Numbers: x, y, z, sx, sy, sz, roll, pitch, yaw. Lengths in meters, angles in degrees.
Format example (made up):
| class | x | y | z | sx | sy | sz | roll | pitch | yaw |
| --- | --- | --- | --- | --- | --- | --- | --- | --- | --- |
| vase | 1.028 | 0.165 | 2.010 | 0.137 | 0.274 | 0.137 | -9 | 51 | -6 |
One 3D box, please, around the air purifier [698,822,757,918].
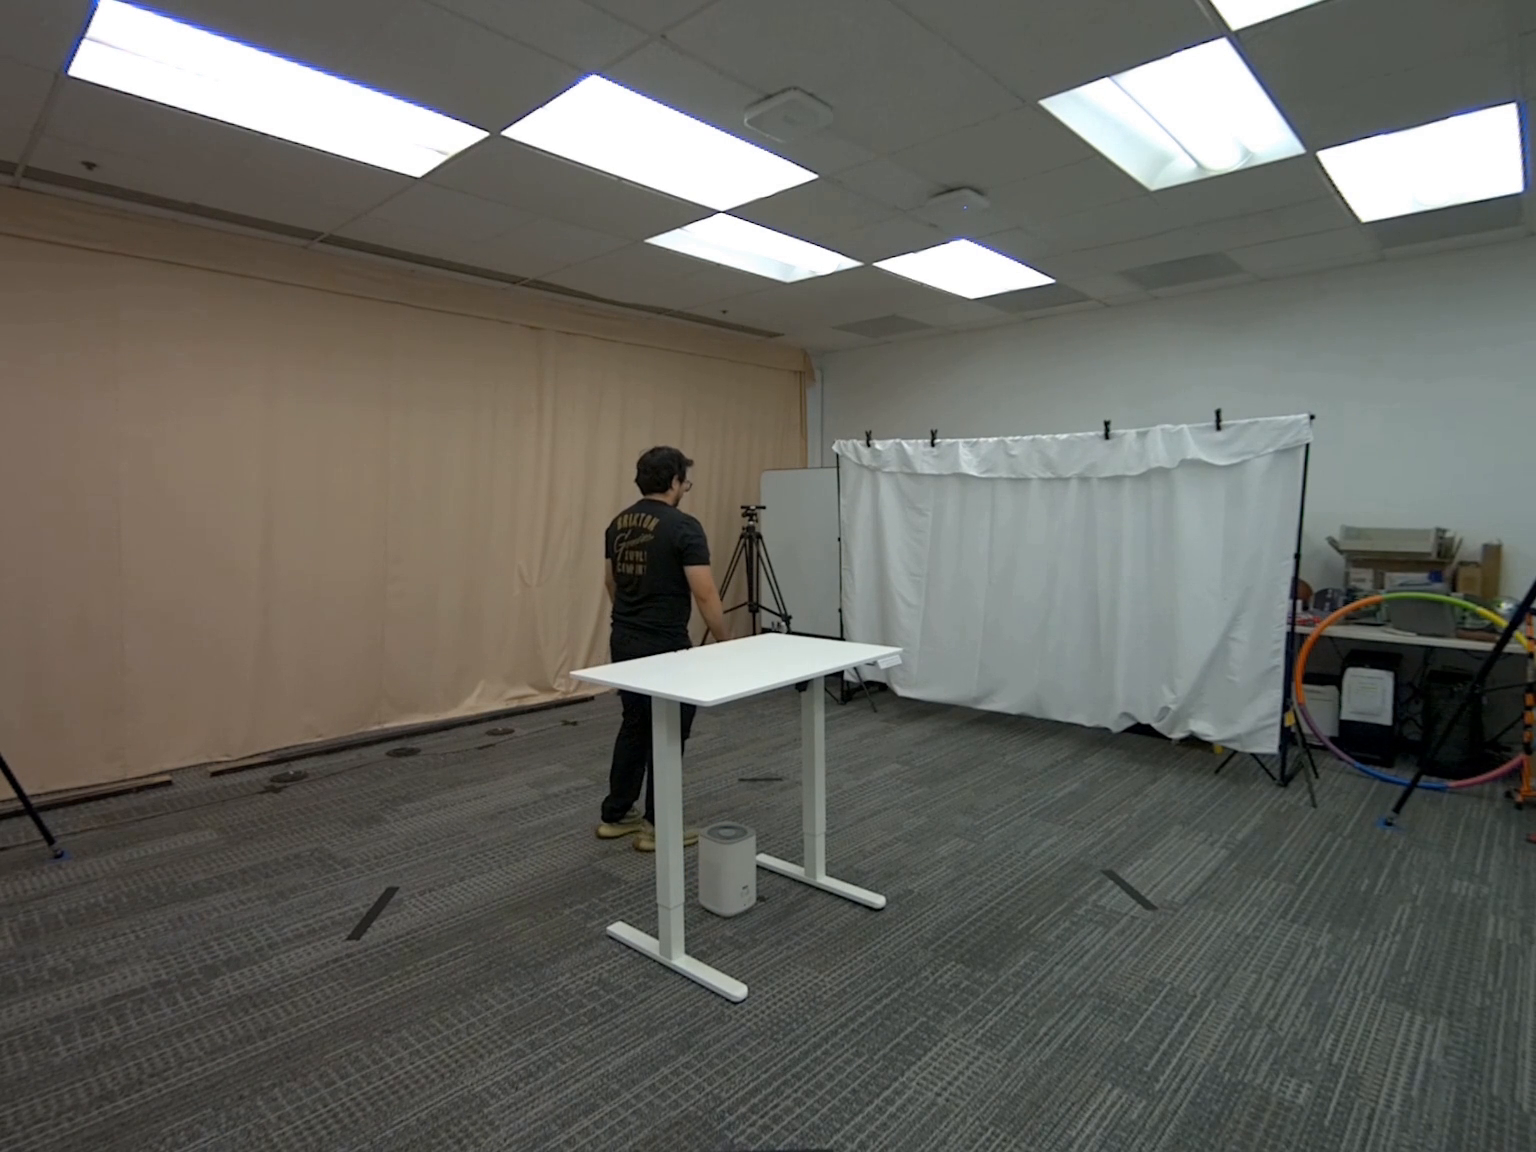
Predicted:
| class | x | y | z | sx | sy | sz | roll | pitch | yaw |
| --- | --- | --- | --- | --- | --- | --- | --- | --- | --- |
| air purifier | -0.134 | 1.012 | 2.920 | 0.177 | 0.265 | 0.166 | 3 | 5 | 42 |
